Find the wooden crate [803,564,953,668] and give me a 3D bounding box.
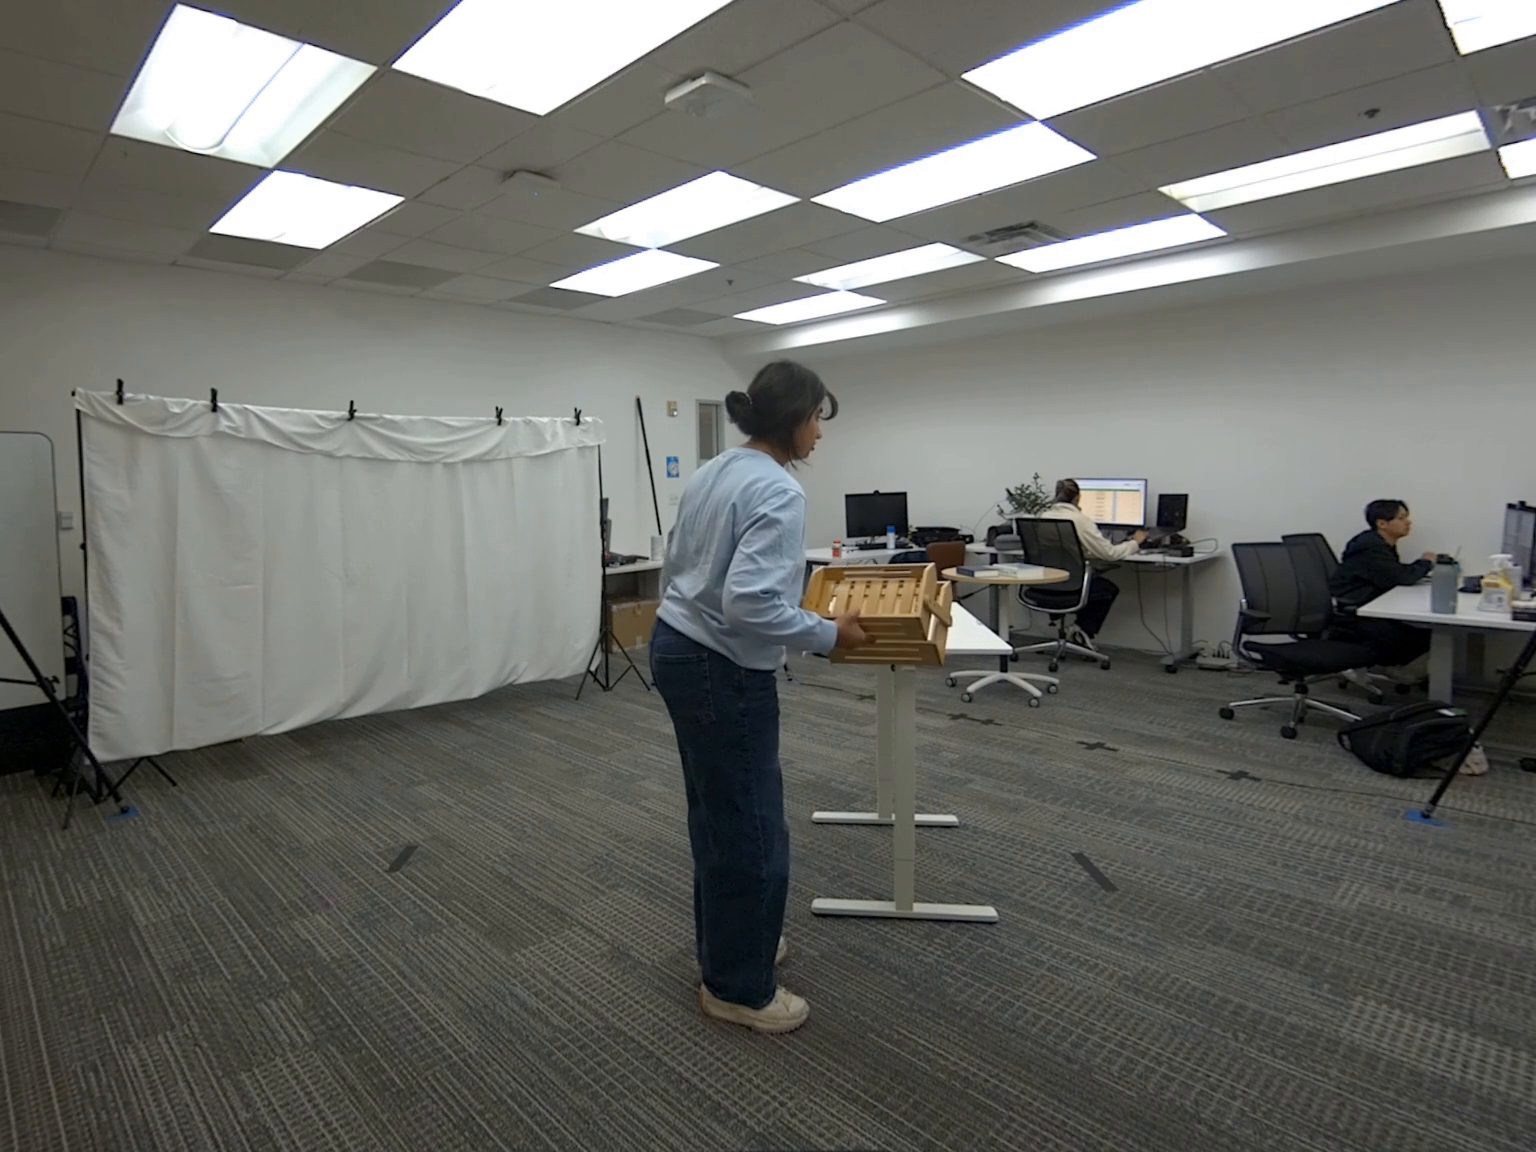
[{"bbox_3d":[0.292,0.068,2.223,0.332,0.263,0.306,-2,47,26],"label":"wooden crate"}]
